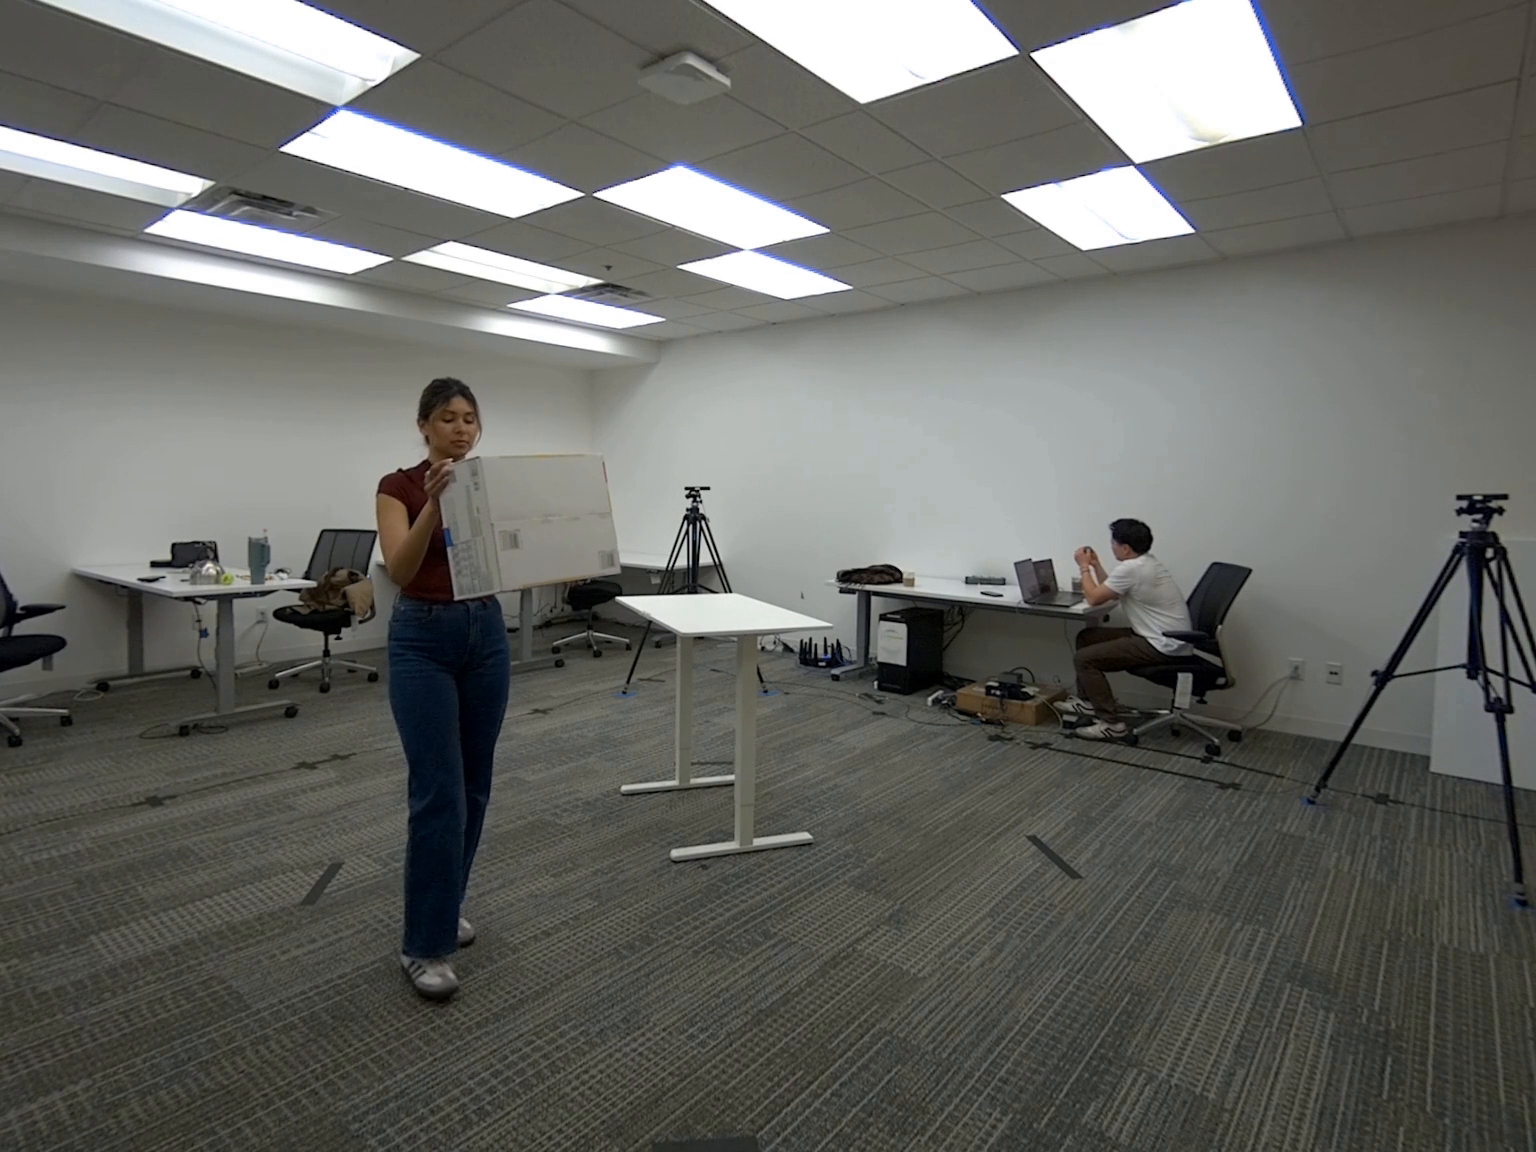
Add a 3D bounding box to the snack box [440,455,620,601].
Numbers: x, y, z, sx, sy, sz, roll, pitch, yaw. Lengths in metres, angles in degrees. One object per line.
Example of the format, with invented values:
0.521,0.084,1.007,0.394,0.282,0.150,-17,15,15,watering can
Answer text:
-0.635,-0.139,2.251,0.211,0.341,0.394,-11,0,38,snack box
